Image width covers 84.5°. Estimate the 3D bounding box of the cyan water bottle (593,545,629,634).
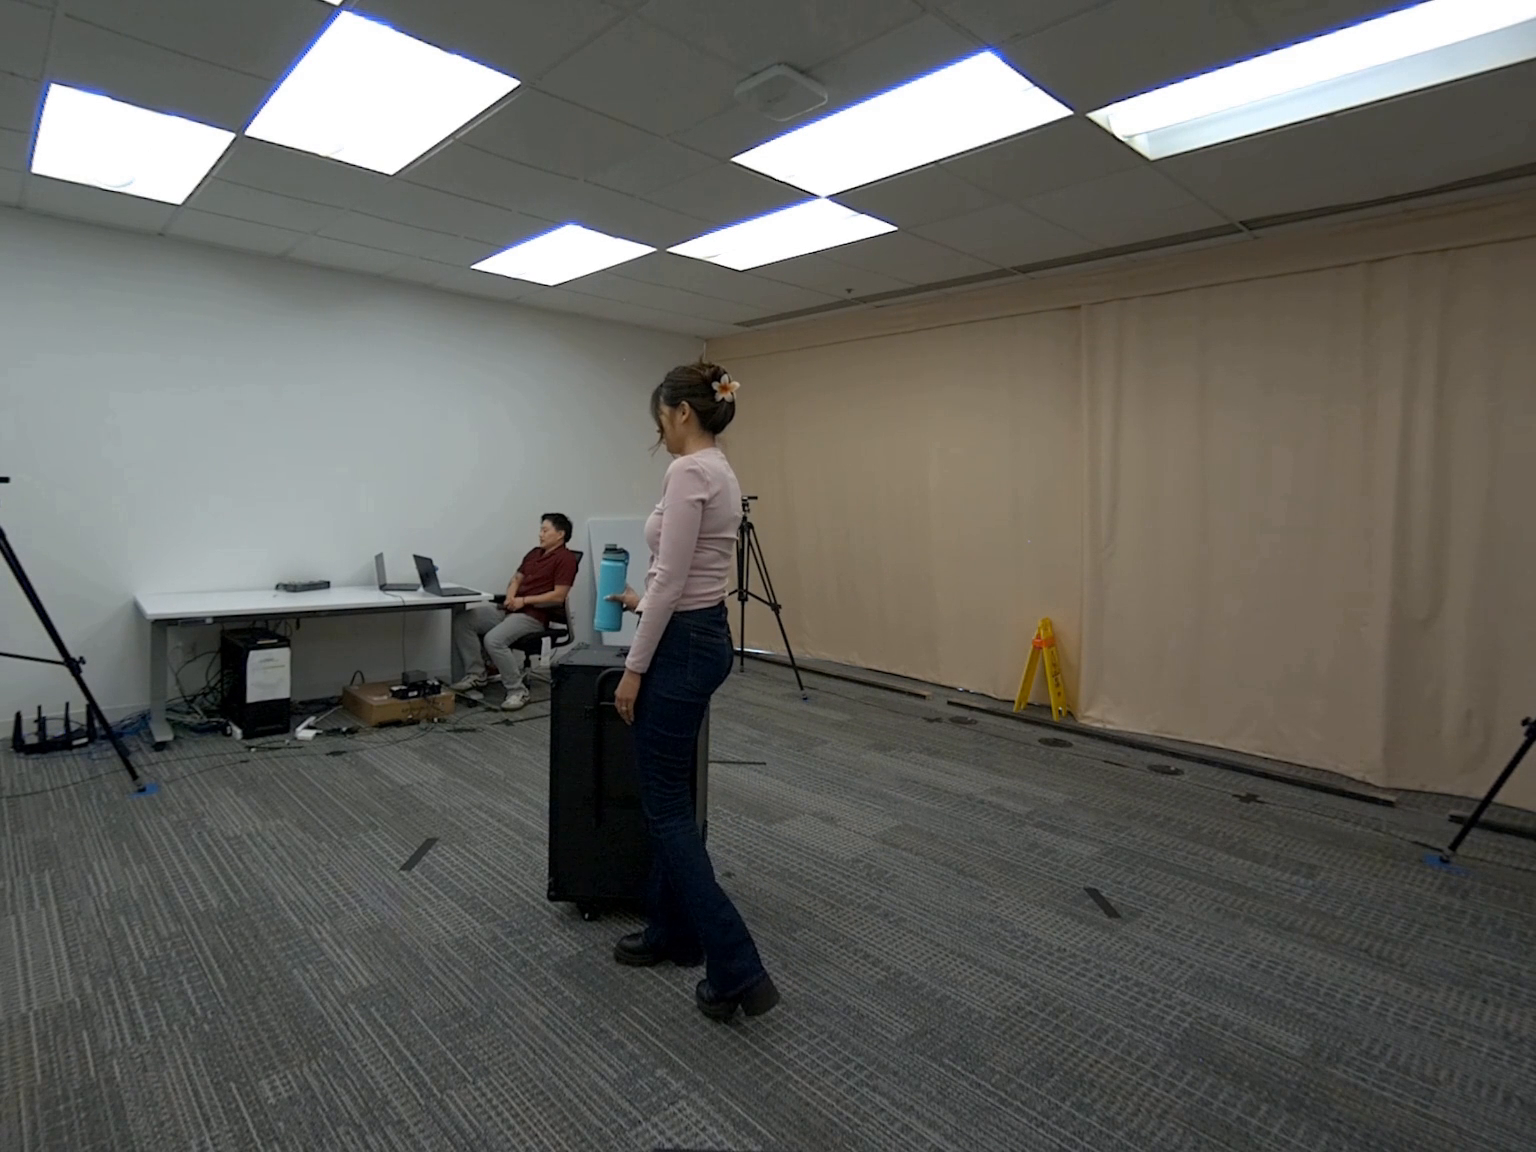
[{"bbox_3d":[-0.511,0.037,2.746,0.092,0.283,0.092,9,1,-2],"label":"cyan water bottle"}]
